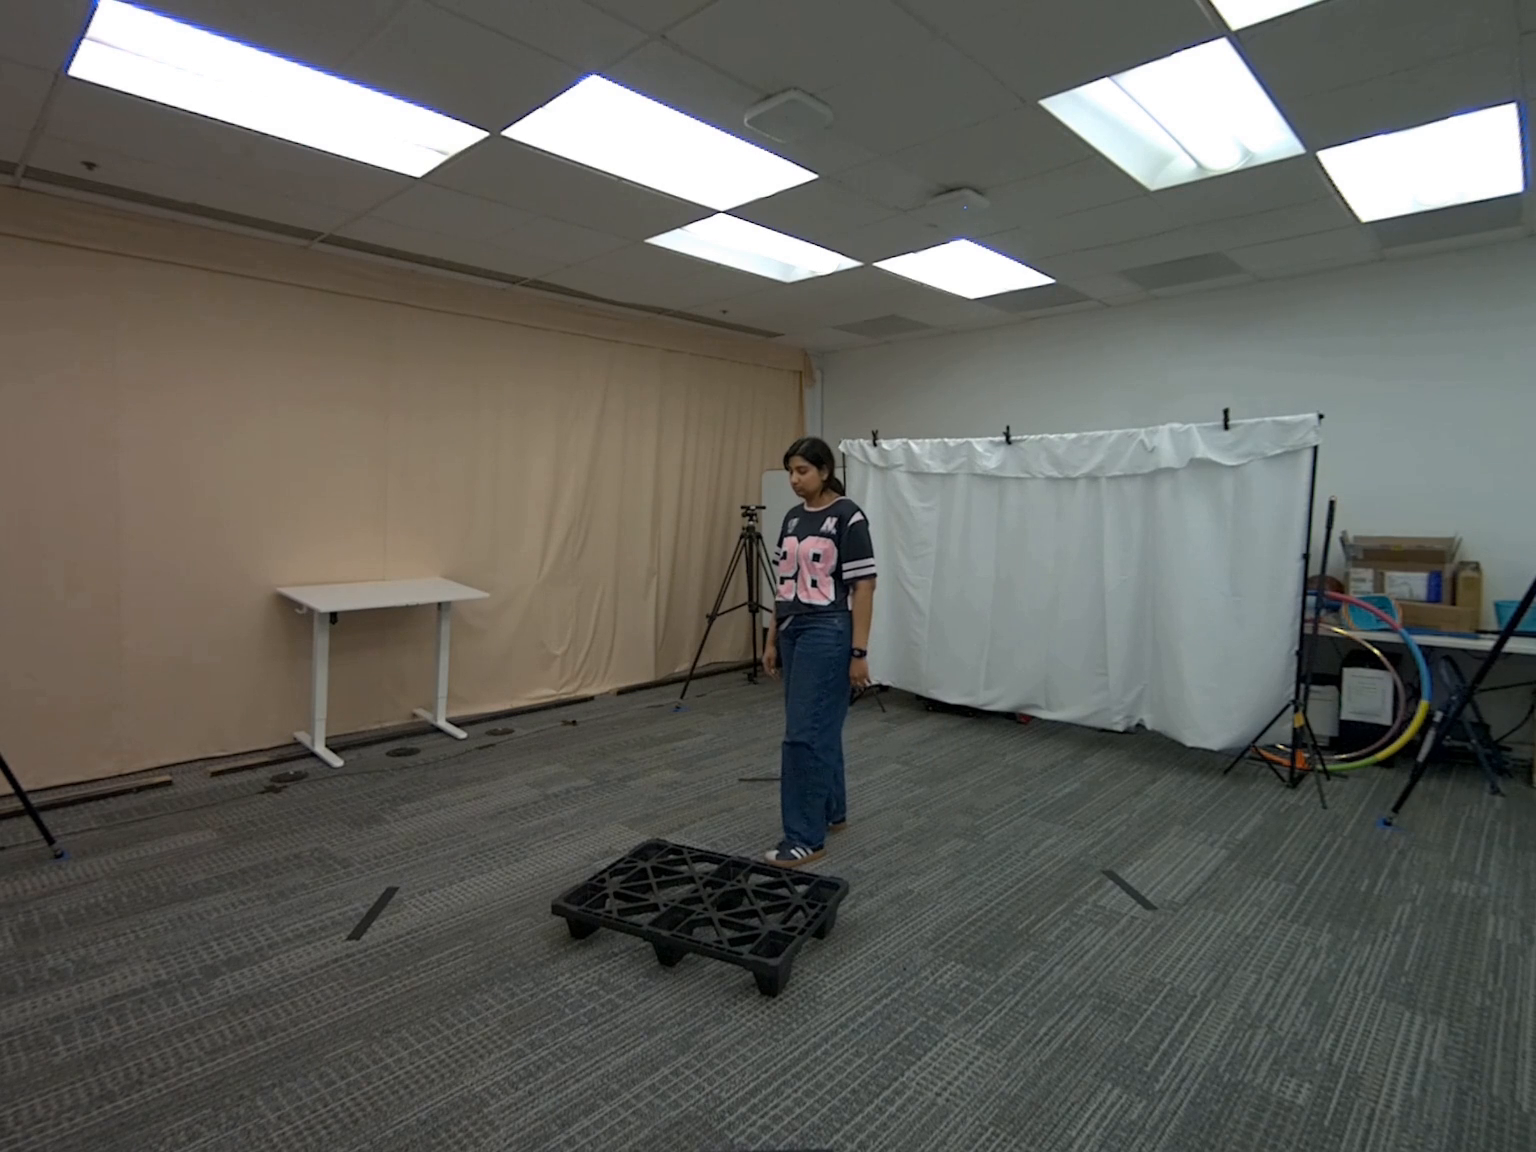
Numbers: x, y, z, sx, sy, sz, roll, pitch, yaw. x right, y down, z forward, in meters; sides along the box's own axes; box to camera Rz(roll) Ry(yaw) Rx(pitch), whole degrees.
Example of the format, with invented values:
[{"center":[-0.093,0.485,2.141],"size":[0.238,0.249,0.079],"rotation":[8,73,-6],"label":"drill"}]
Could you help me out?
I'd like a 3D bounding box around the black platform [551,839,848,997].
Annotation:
[{"center":[-0.213,1.095,2.757],"size":[0.828,0.143,0.590],"rotation":[2,5,27],"label":"black platform"}]
